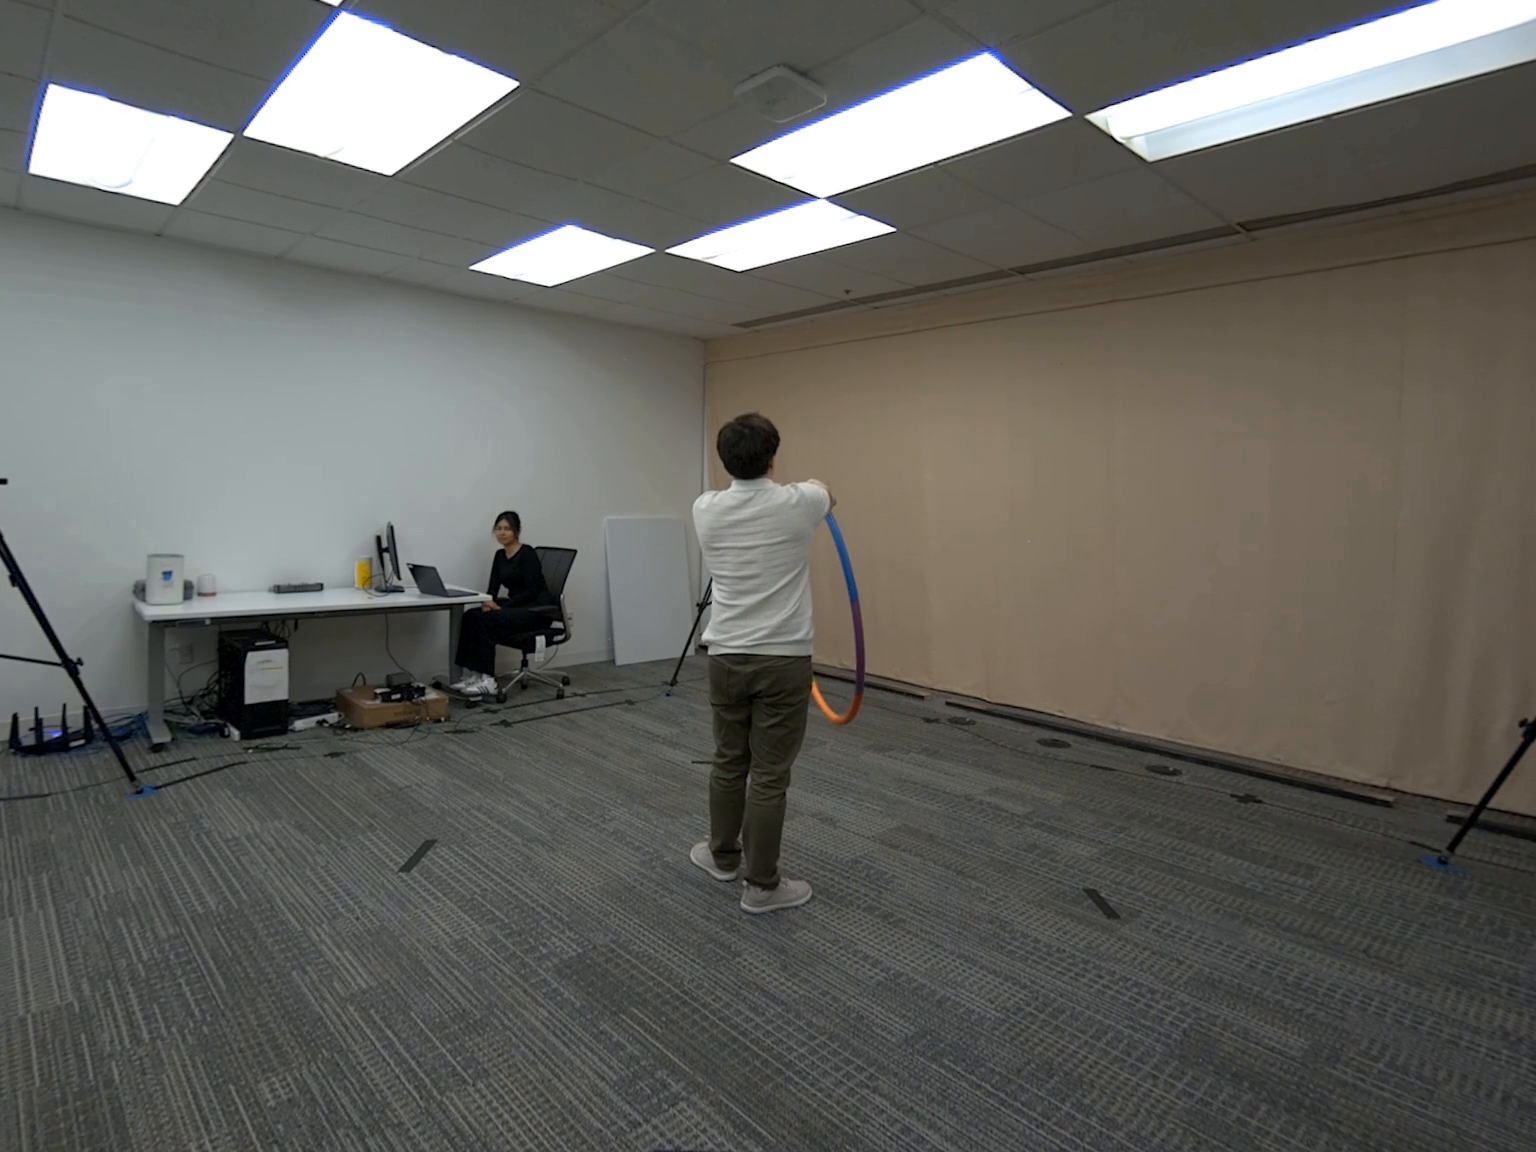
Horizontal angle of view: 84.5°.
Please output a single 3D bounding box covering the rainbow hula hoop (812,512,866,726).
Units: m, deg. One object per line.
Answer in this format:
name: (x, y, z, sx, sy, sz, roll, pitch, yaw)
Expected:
rainbow hula hoop: (0.201, 0.123, 3.508, 0.035, 0.974, 0.991, -8, 6, -12)
